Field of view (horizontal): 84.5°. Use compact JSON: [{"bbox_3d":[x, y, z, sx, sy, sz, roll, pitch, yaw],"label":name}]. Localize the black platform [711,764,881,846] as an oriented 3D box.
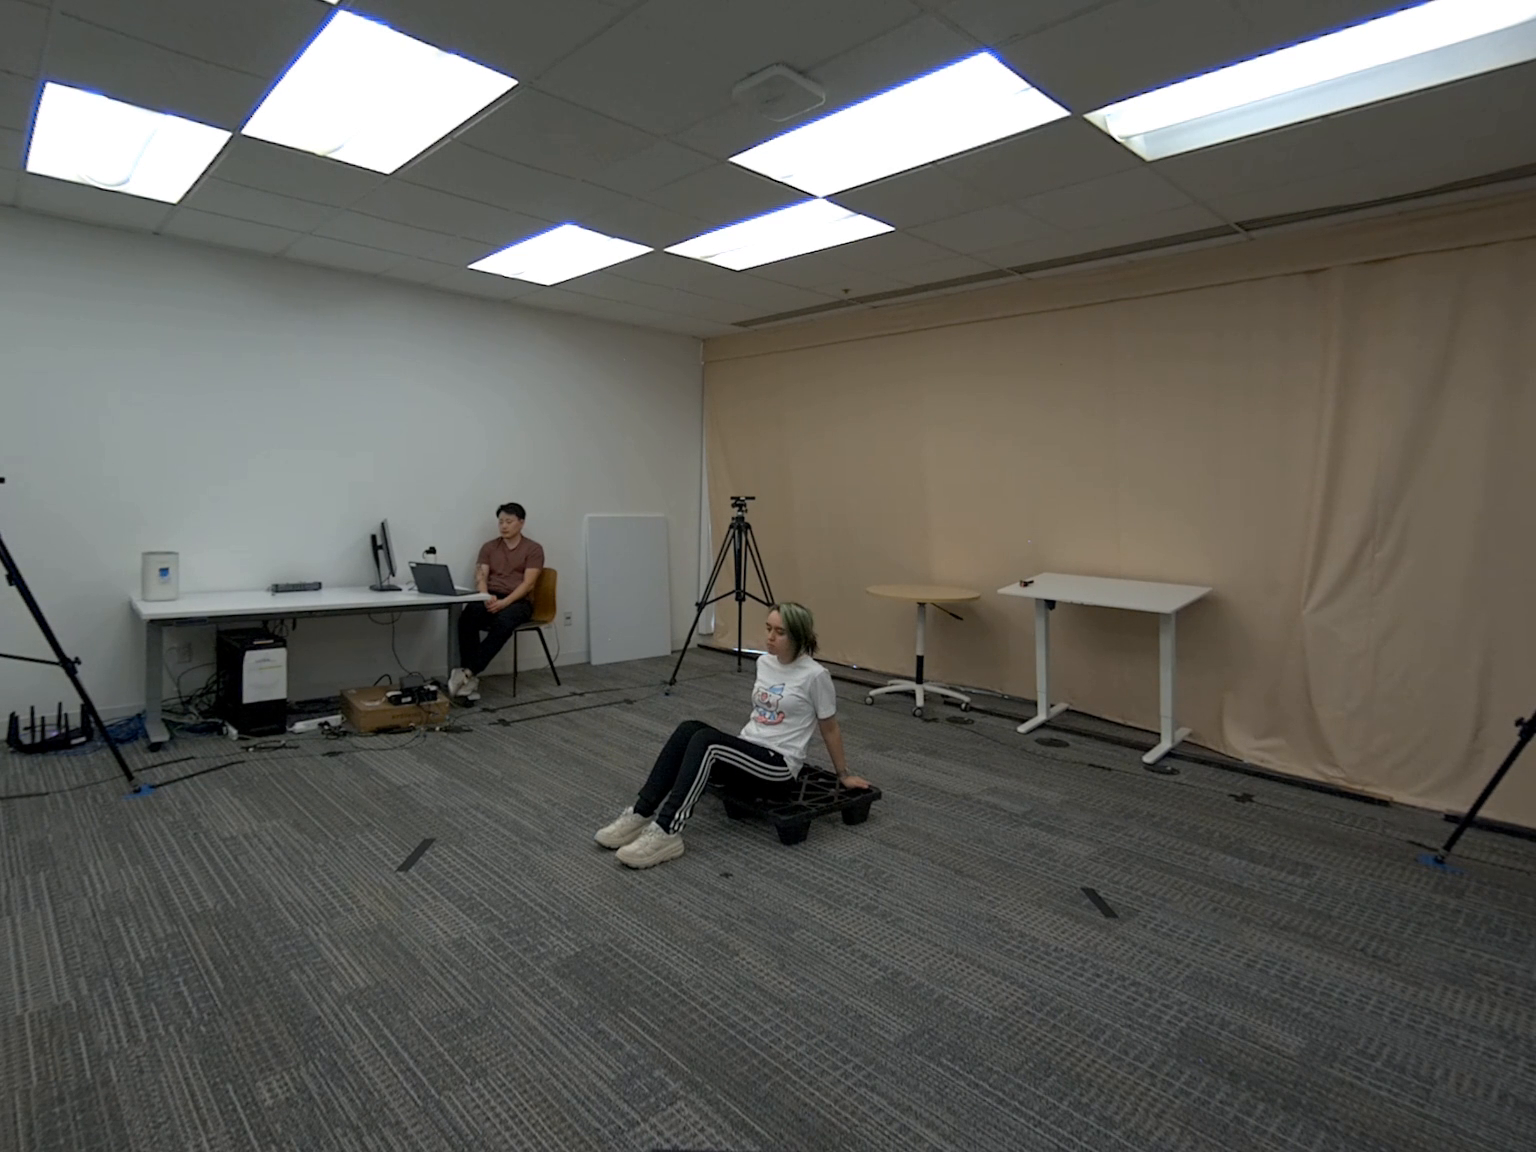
[{"bbox_3d":[0.010,0.981,3.803,0.592,0.143,0.826,-4,7,-39],"label":"black platform"}]
